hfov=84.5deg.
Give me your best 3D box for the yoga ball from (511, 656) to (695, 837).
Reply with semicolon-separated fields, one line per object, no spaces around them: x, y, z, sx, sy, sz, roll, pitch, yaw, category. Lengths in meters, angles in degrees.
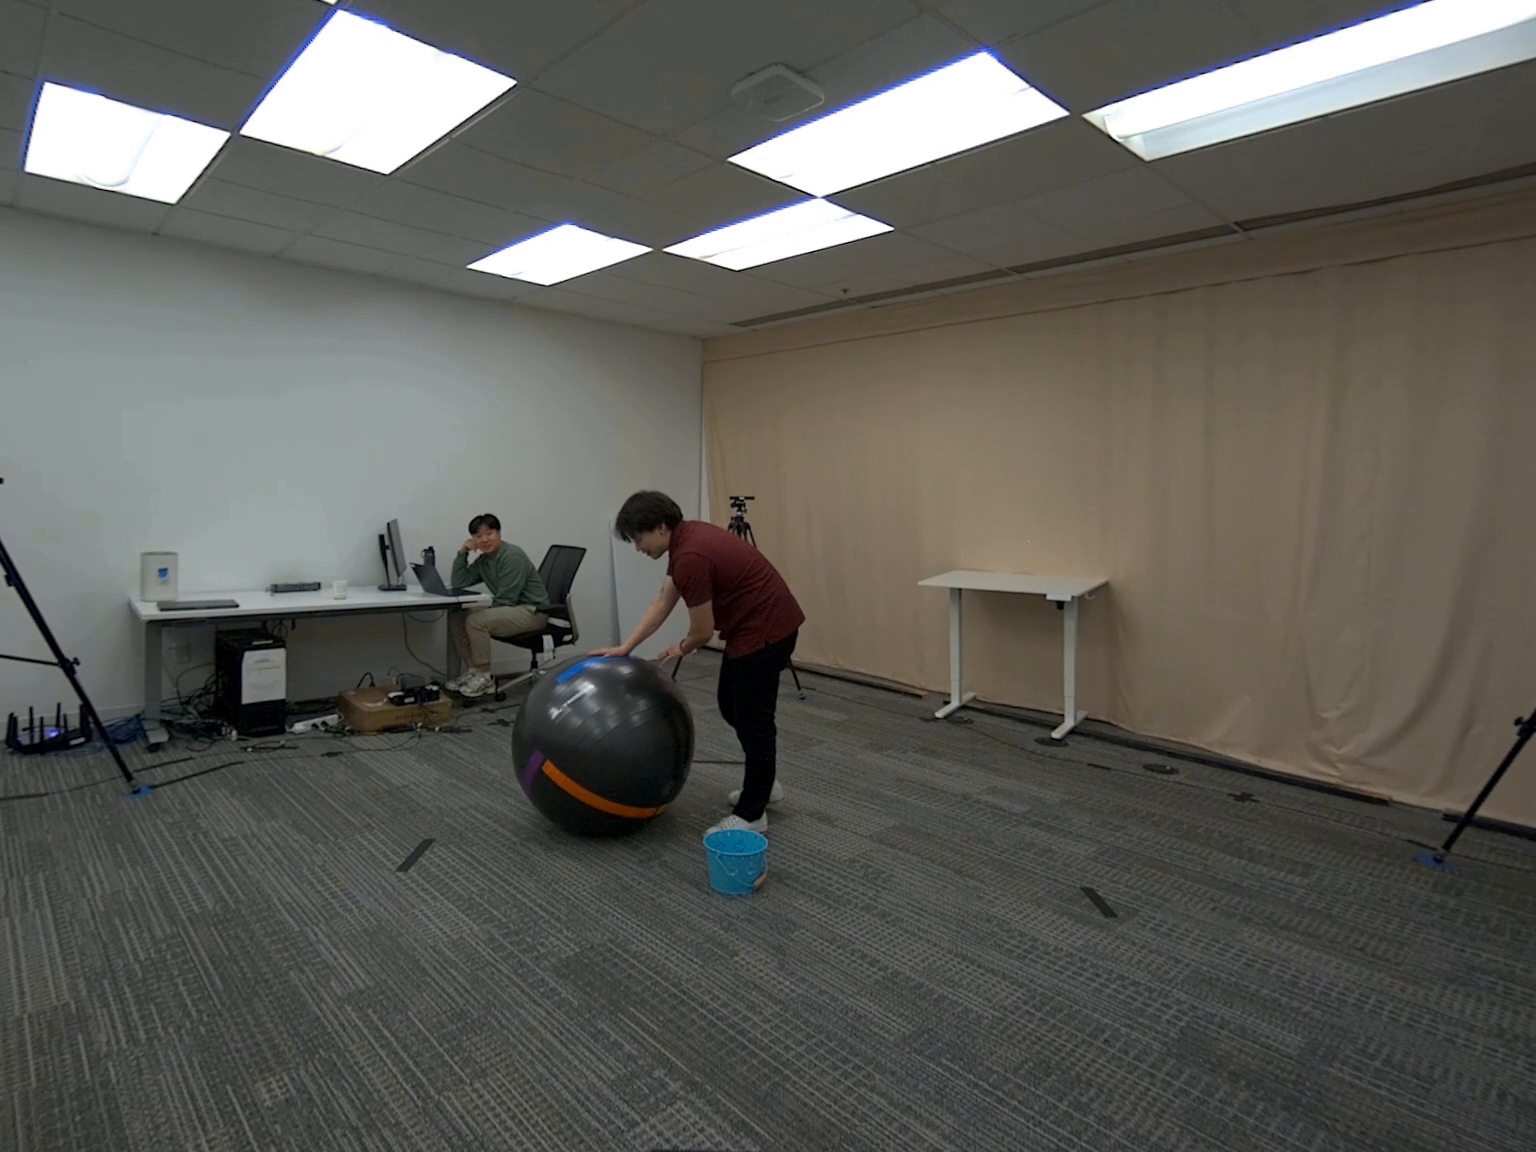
-0.709;0.705;3.547;0.757;0.756;0.761;1;4;-1;yoga ball
